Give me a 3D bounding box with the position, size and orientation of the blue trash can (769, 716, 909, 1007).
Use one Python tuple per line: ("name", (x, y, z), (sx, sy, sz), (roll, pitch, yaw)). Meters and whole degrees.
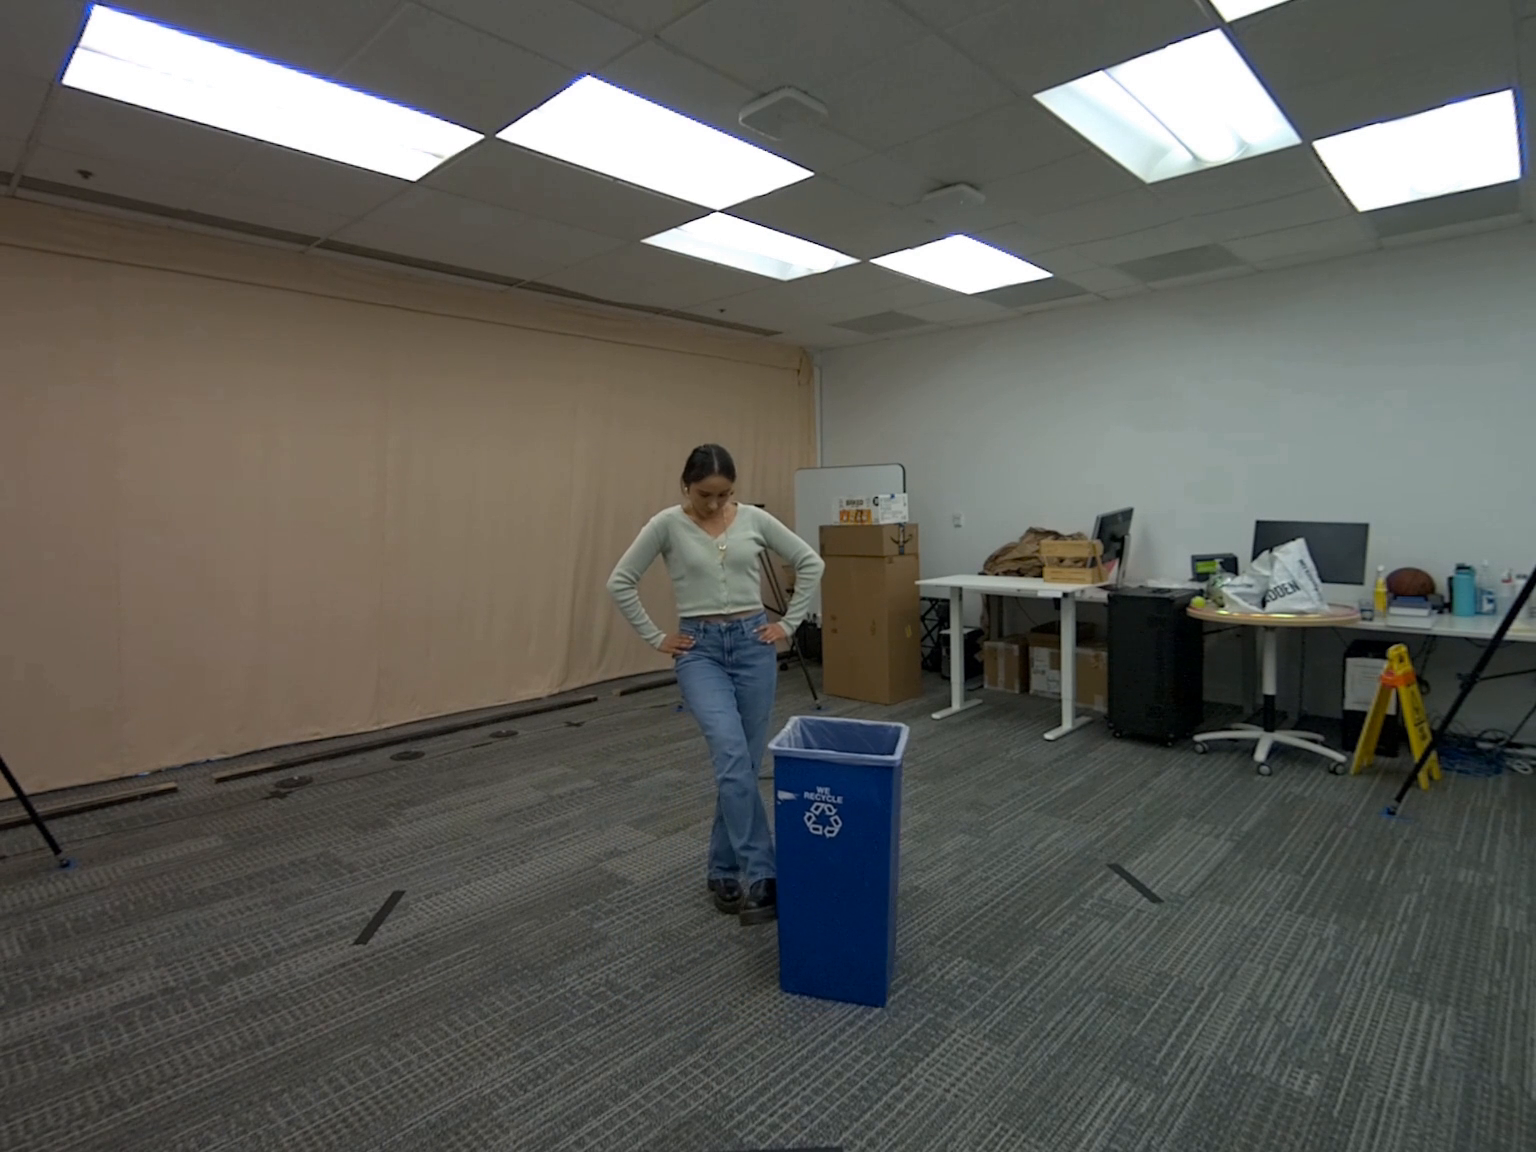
("blue trash can", (0.221, 0.822, 2.472), (0.385, 0.712, 0.368), (1, 3, 15))
